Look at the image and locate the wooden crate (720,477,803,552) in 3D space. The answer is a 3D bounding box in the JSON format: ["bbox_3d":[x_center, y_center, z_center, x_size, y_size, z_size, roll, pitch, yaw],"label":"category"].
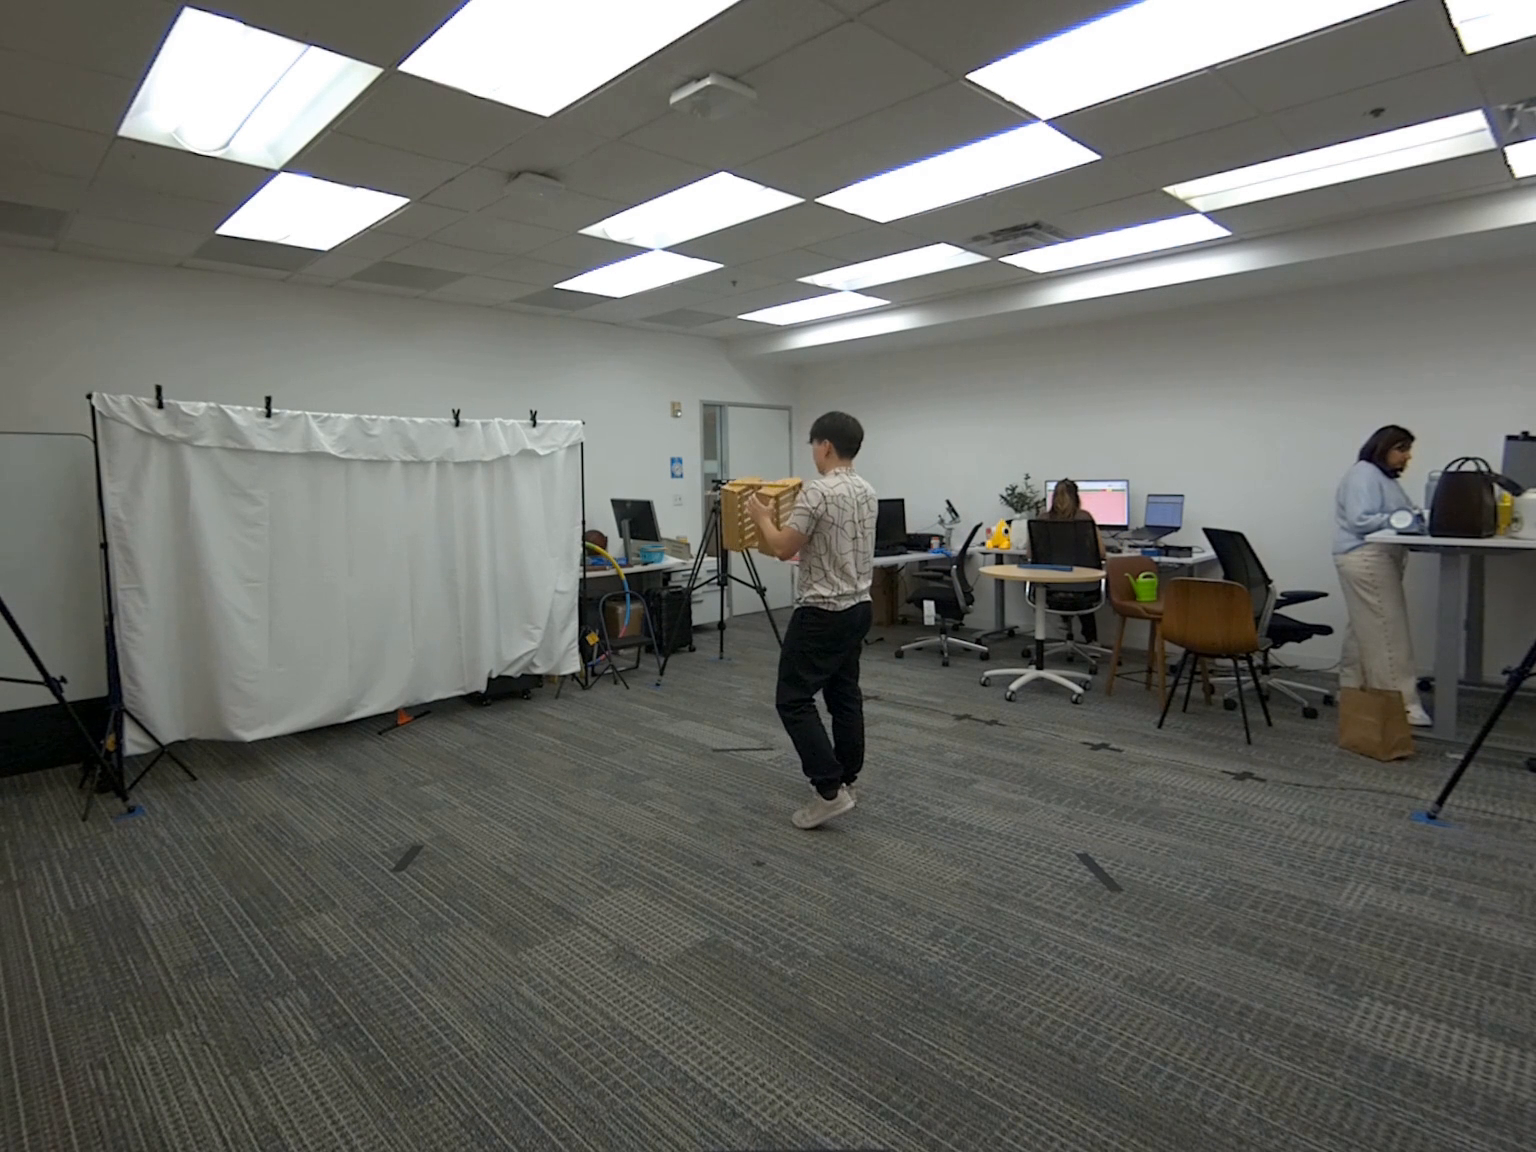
[{"bbox_3d":[-0.017,-0.293,3.955,0.283,0.317,0.298,17,32,35],"label":"wooden crate"}]
